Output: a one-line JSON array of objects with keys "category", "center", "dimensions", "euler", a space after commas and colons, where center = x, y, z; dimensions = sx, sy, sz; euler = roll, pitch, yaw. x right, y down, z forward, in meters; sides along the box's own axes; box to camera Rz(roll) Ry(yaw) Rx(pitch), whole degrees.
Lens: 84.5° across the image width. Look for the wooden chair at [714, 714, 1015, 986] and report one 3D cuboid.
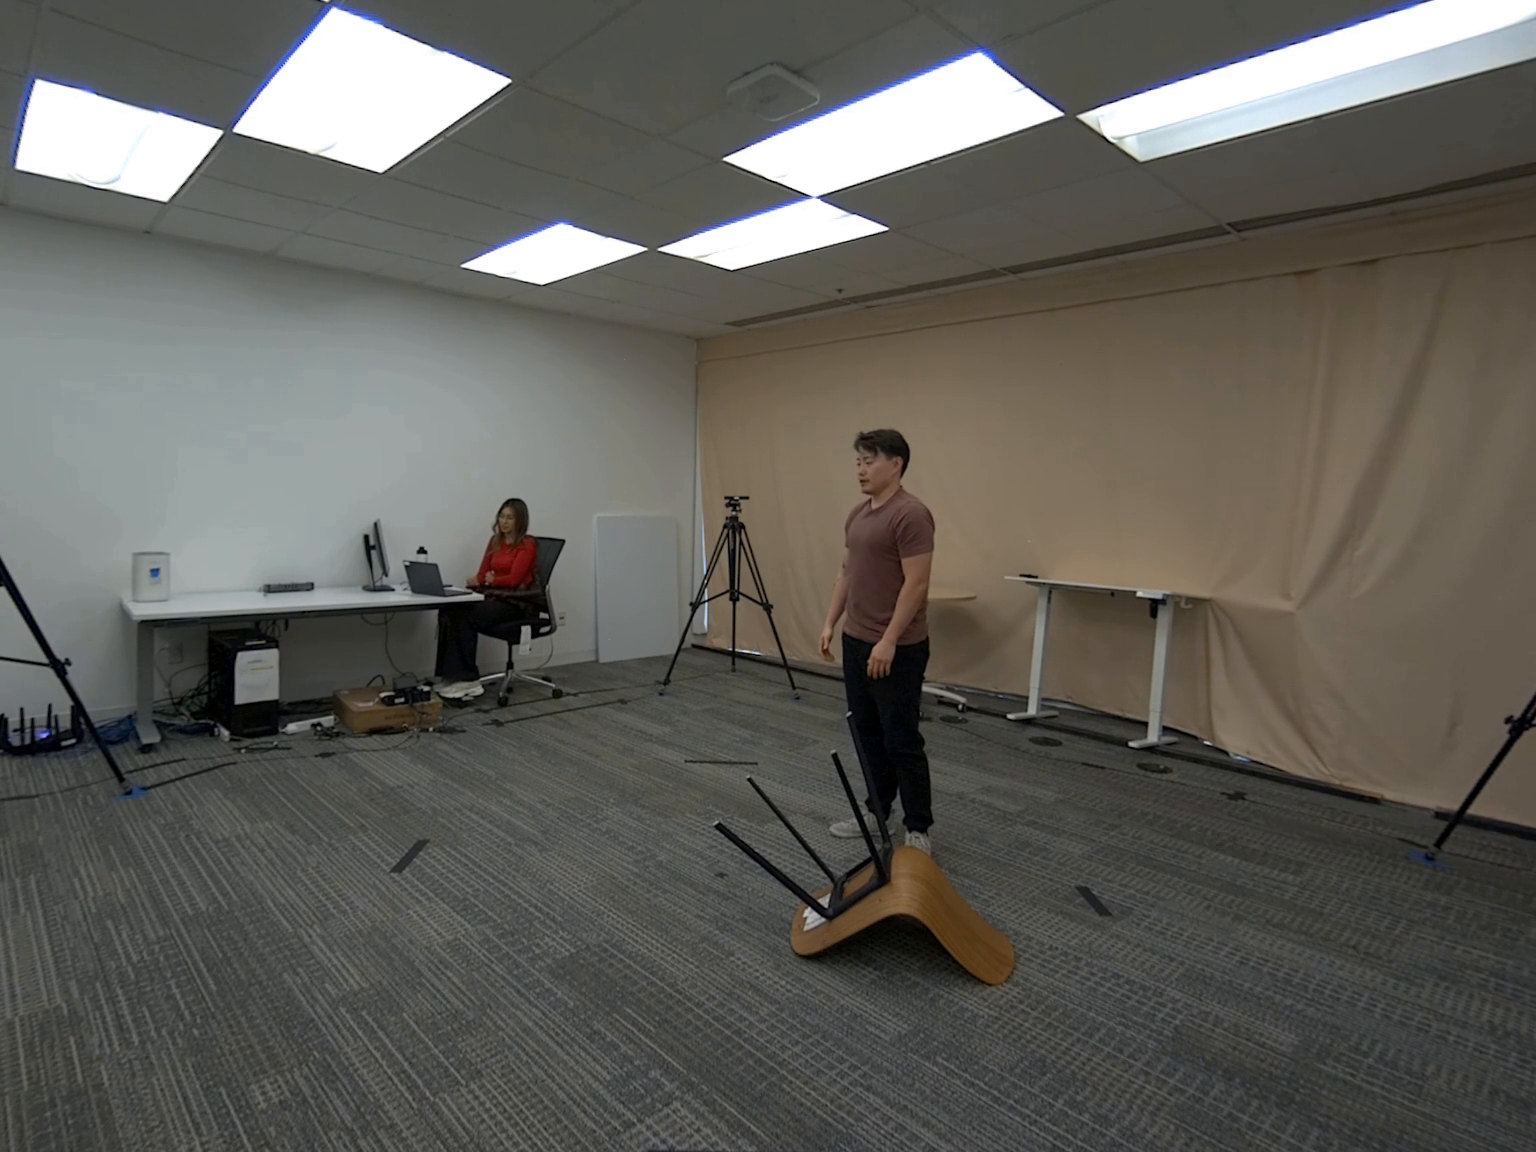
[{"category": "wooden chair", "center": [0.286, 0.981, 2.702], "dimensions": [0.524, 0.883, 0.474], "euler": [-39, -6, 13]}]
